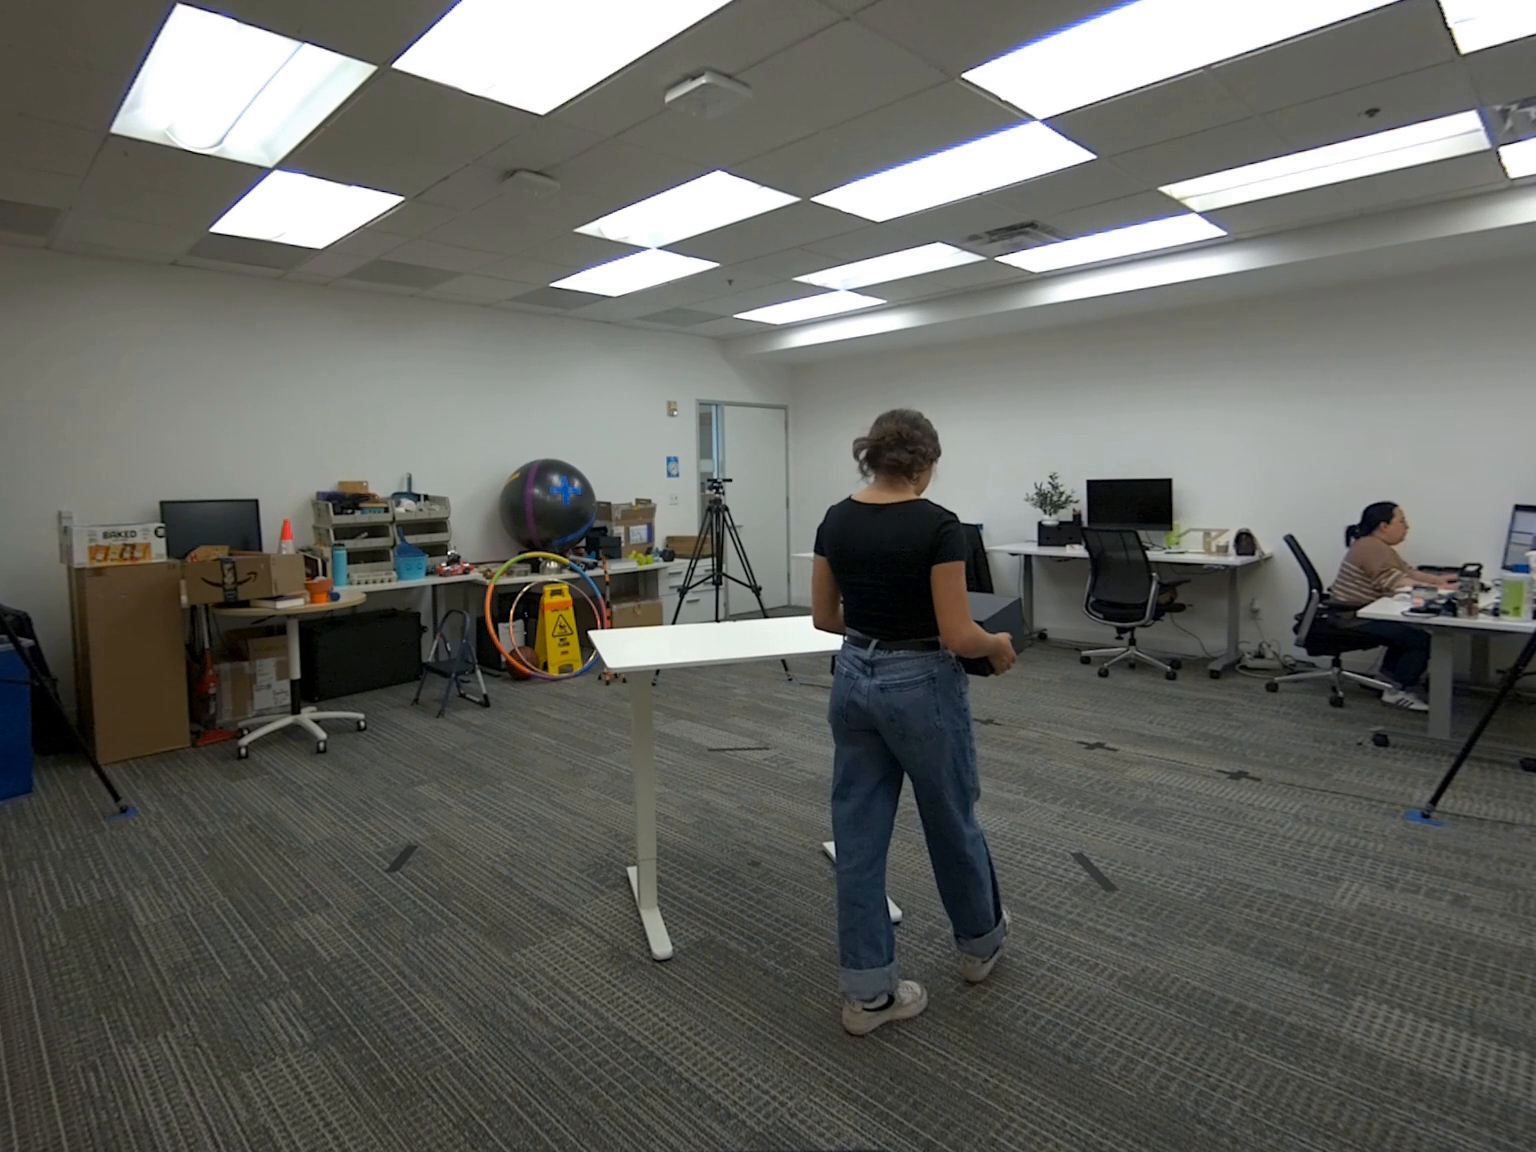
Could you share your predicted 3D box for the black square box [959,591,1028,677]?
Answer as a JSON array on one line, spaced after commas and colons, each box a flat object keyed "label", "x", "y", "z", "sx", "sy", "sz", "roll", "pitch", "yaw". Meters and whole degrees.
[{"label": "black square box", "x": 0.570, "y": 0.150, "z": 2.363, "sx": 0.223, "sy": 0.154, "sz": 0.224, "roll": 3, "pitch": 17, "yaw": 41}]
